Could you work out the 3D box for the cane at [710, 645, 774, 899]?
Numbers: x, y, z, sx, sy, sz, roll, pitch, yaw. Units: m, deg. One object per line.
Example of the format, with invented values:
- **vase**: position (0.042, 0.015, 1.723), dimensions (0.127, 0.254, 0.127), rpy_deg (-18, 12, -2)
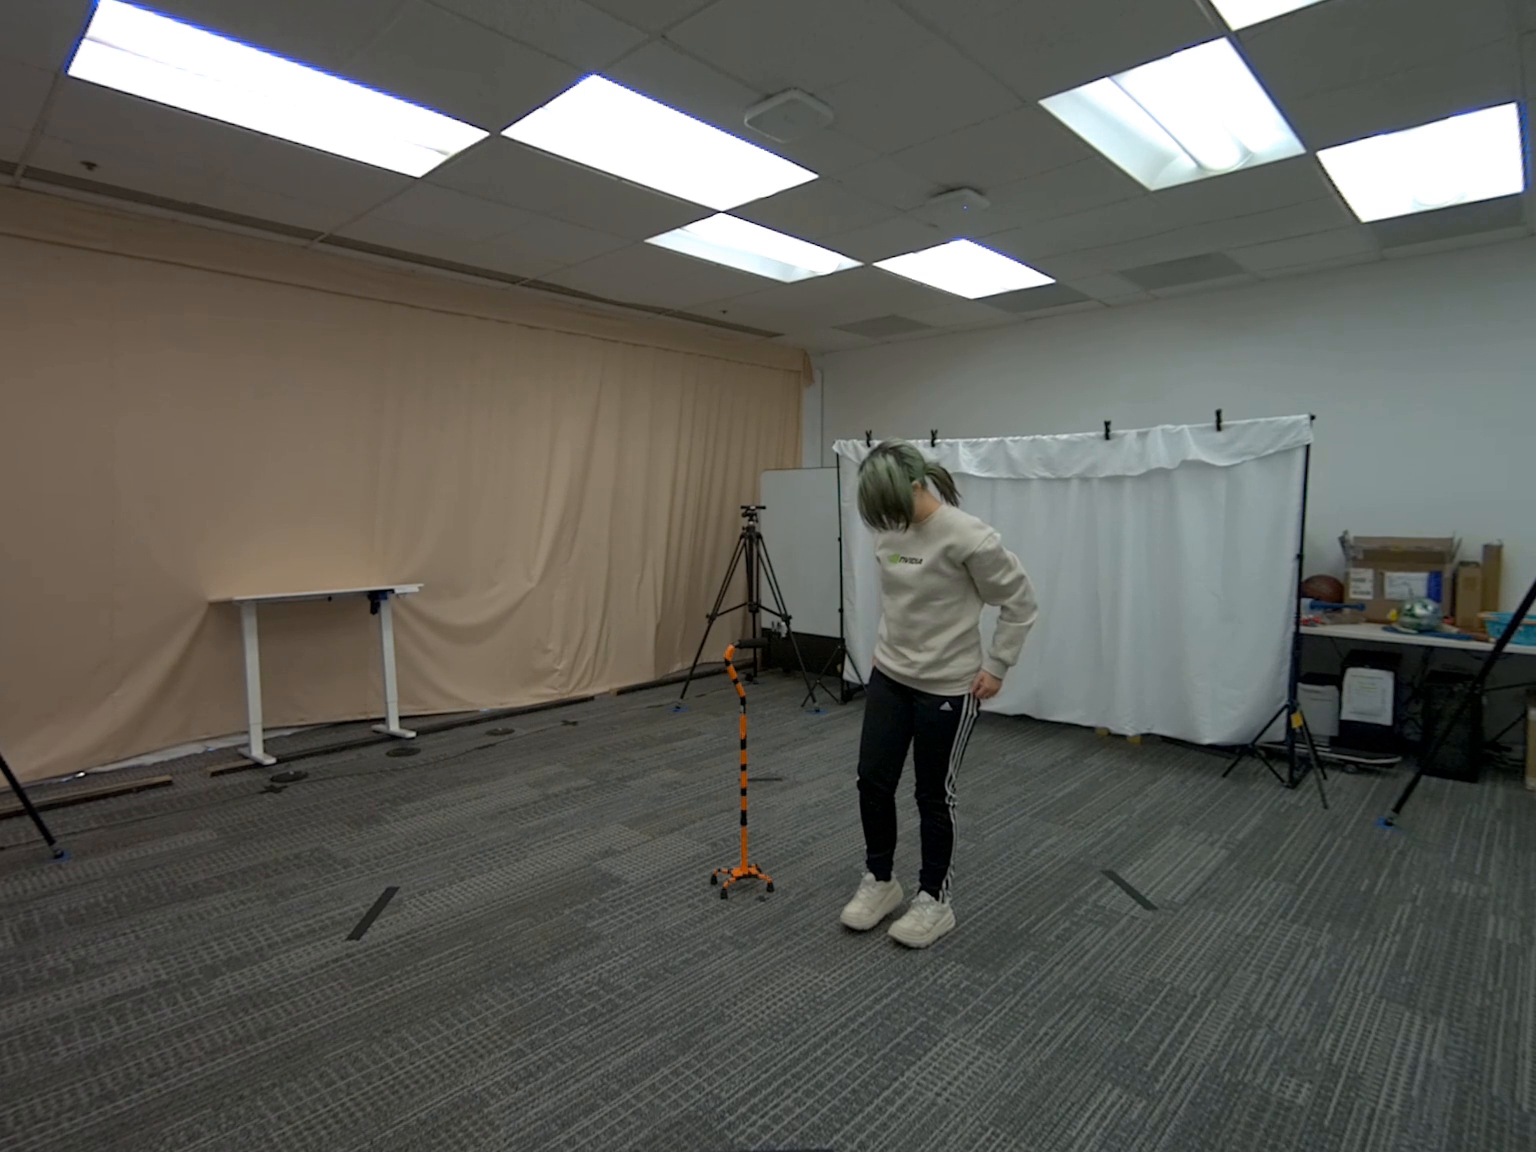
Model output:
- **cane**: position (-0.091, 0.687, 3.056), dimensions (0.202, 0.906, 0.155), rpy_deg (-1, 3, -19)
